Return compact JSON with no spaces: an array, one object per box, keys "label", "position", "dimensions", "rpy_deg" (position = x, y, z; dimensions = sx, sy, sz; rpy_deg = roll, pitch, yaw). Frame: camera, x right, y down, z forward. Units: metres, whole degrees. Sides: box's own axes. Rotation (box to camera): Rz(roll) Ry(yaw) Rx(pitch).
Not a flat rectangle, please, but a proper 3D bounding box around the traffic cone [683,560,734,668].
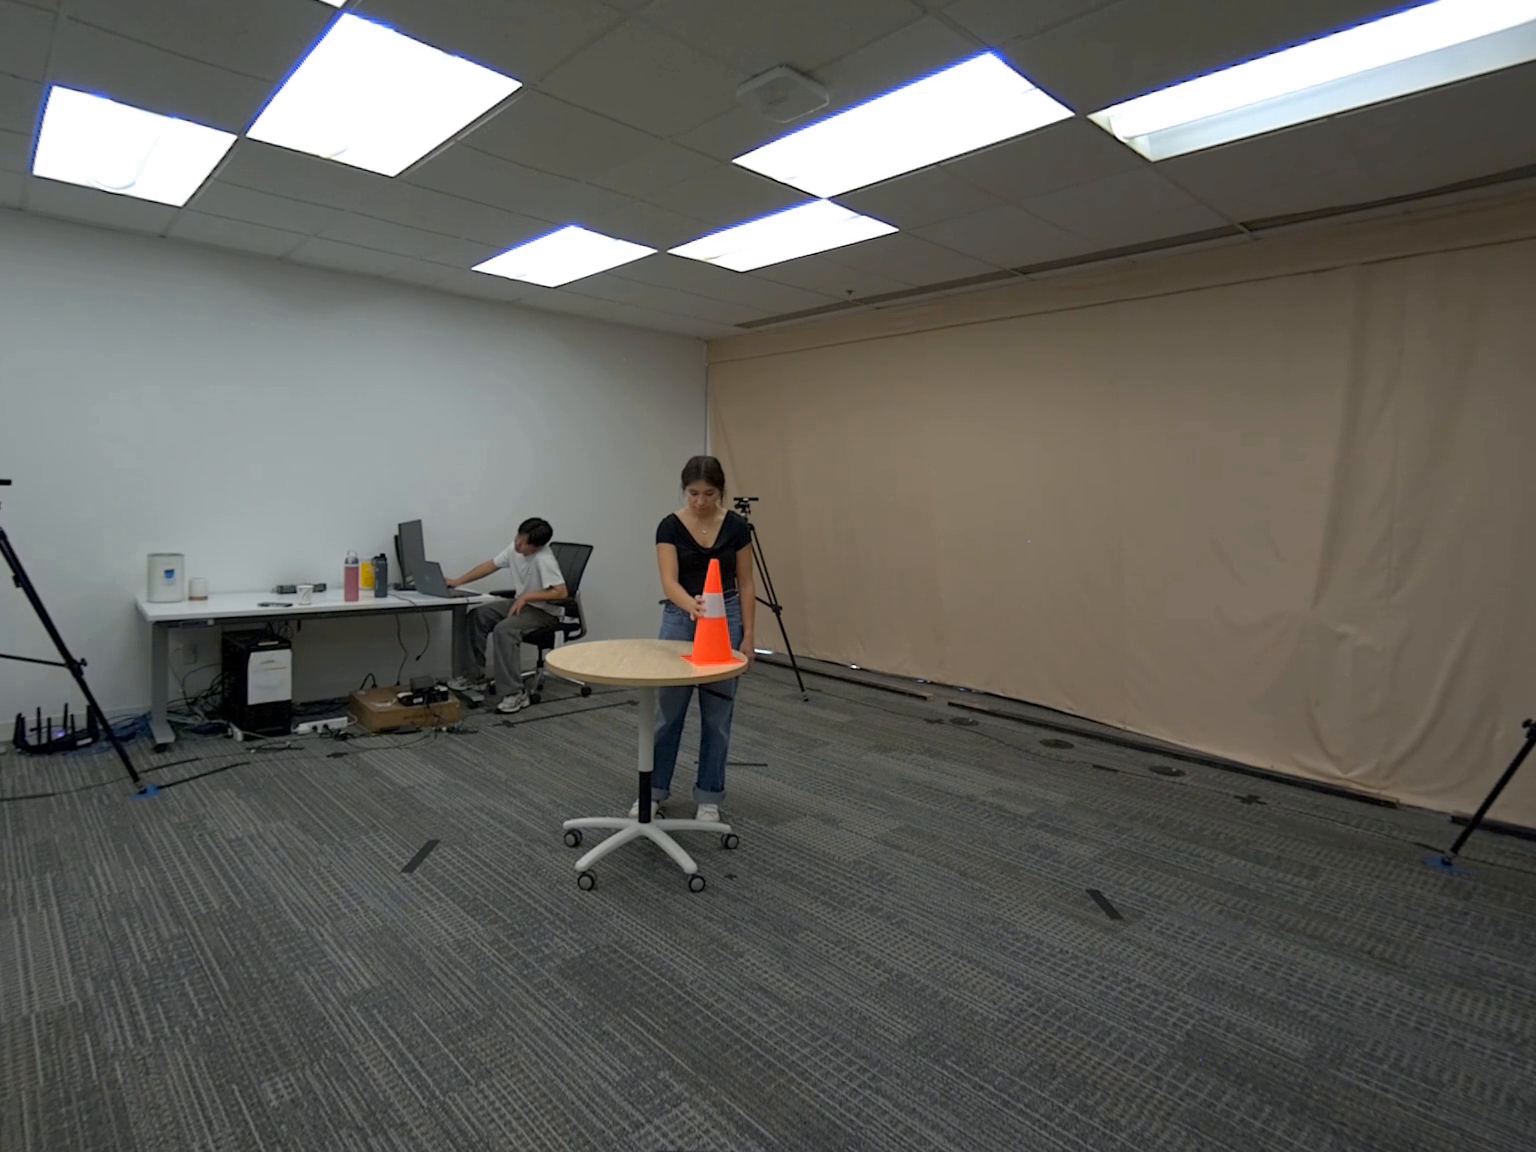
[{"label":"traffic cone","position":[-0.220,0.136,3.184],"dimensions":[0.200,0.383,0.208],"rpy_deg":[2,1,-23]}]
